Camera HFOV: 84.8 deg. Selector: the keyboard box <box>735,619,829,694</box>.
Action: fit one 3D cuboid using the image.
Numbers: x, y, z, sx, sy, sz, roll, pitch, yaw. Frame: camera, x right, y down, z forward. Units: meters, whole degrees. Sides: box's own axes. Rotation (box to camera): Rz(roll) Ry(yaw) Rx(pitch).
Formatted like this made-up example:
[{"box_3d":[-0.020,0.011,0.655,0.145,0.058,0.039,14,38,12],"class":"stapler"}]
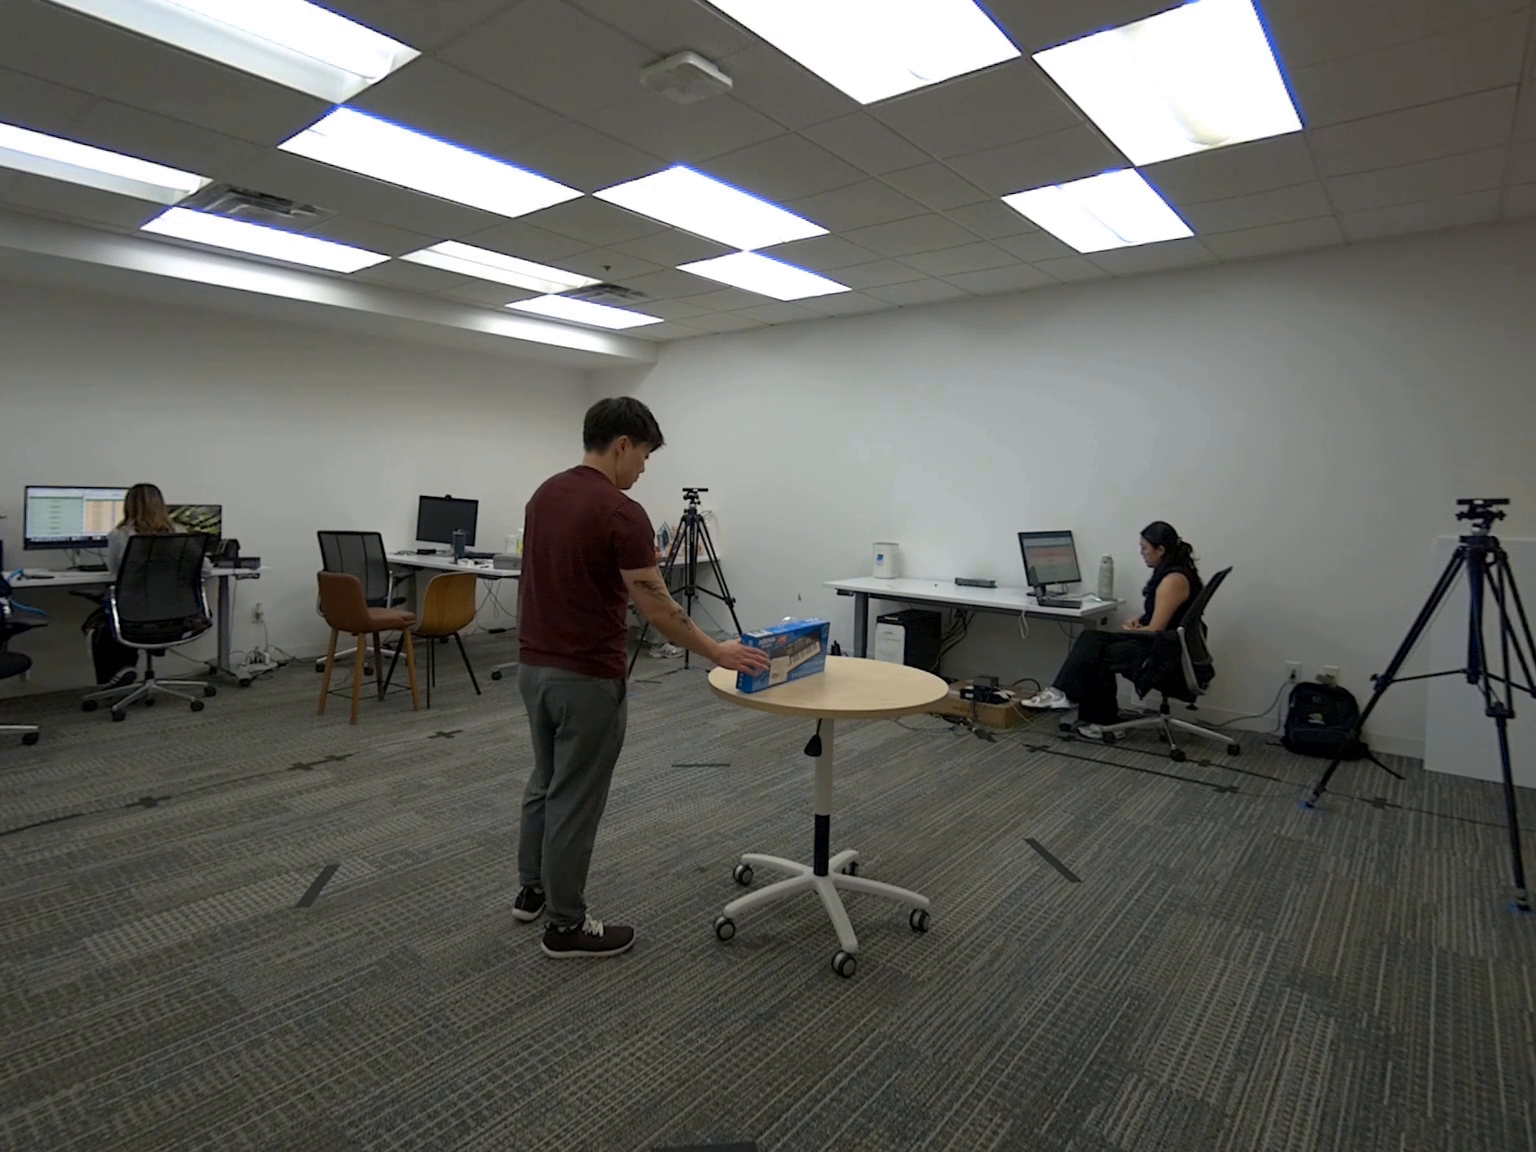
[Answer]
[{"box_3d":[0.047,0.249,2.707,0.061,0.175,0.425,11,10,34],"class":"keyboard box"}]
